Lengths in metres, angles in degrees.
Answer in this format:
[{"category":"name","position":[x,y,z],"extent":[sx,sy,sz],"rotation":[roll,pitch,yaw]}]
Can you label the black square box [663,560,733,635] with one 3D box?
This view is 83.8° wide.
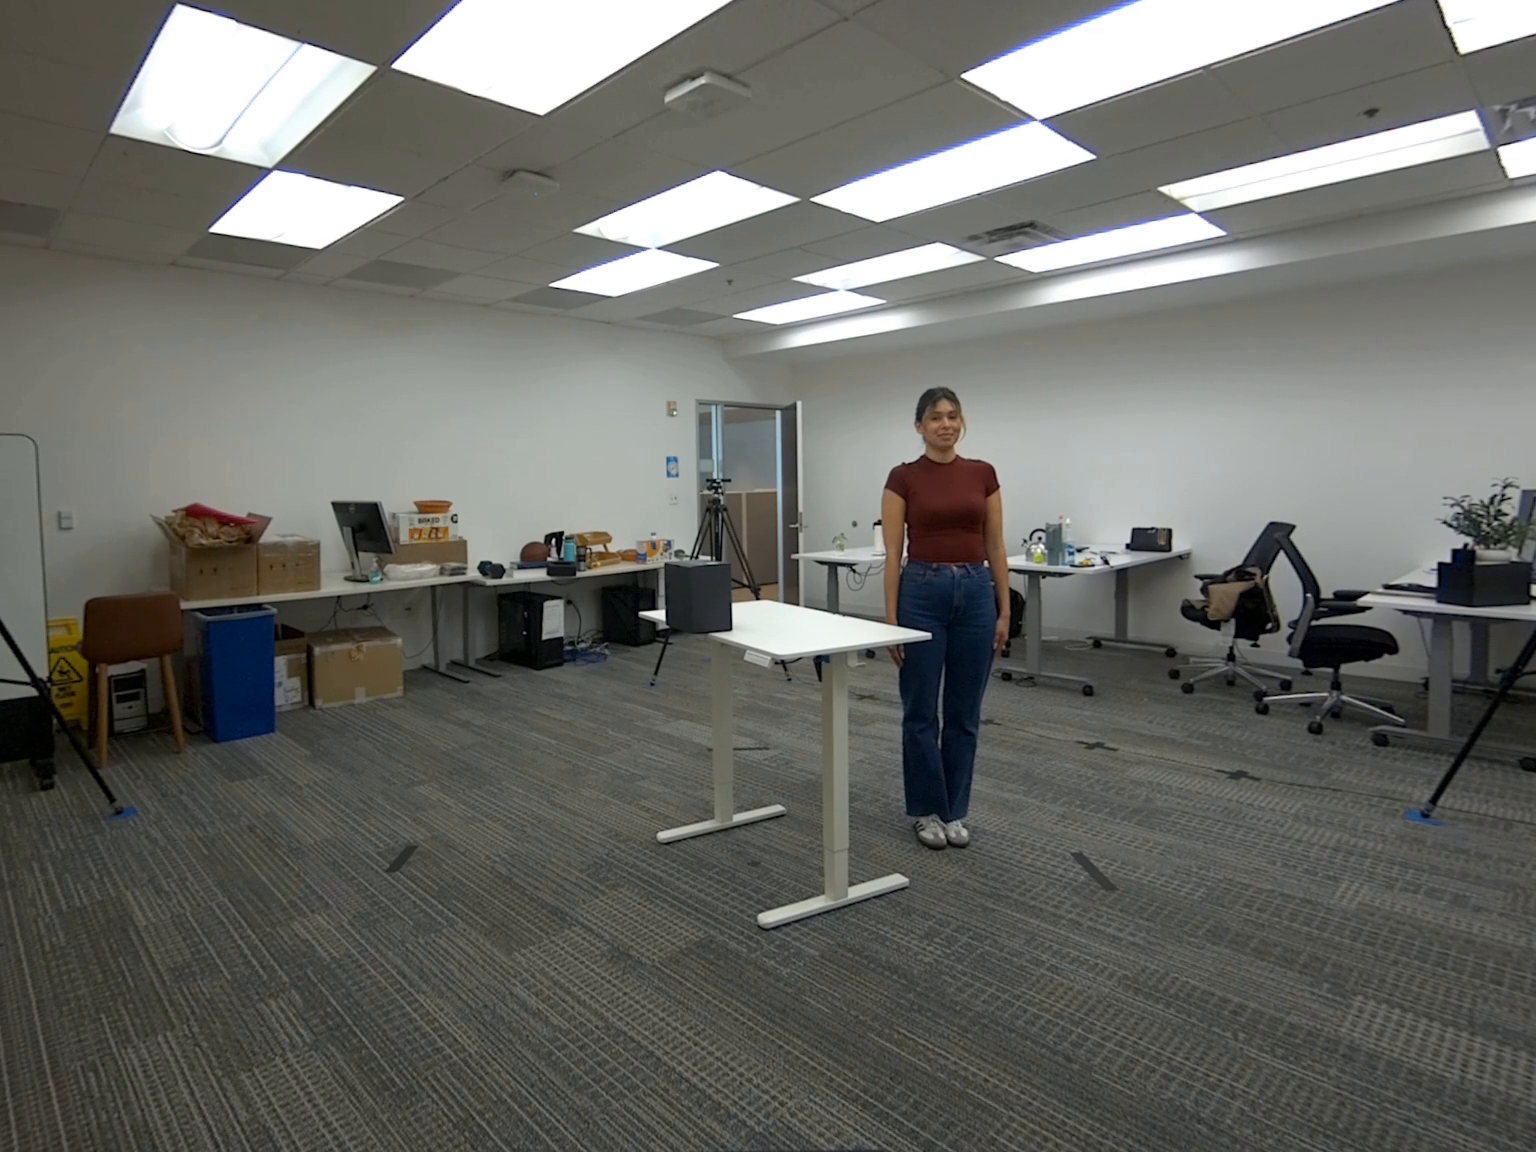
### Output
[{"category":"black square box","position":[-0.240,0.067,2.945],"extent":[0.152,0.227,0.223],"rotation":[-3,5,-30]}]
